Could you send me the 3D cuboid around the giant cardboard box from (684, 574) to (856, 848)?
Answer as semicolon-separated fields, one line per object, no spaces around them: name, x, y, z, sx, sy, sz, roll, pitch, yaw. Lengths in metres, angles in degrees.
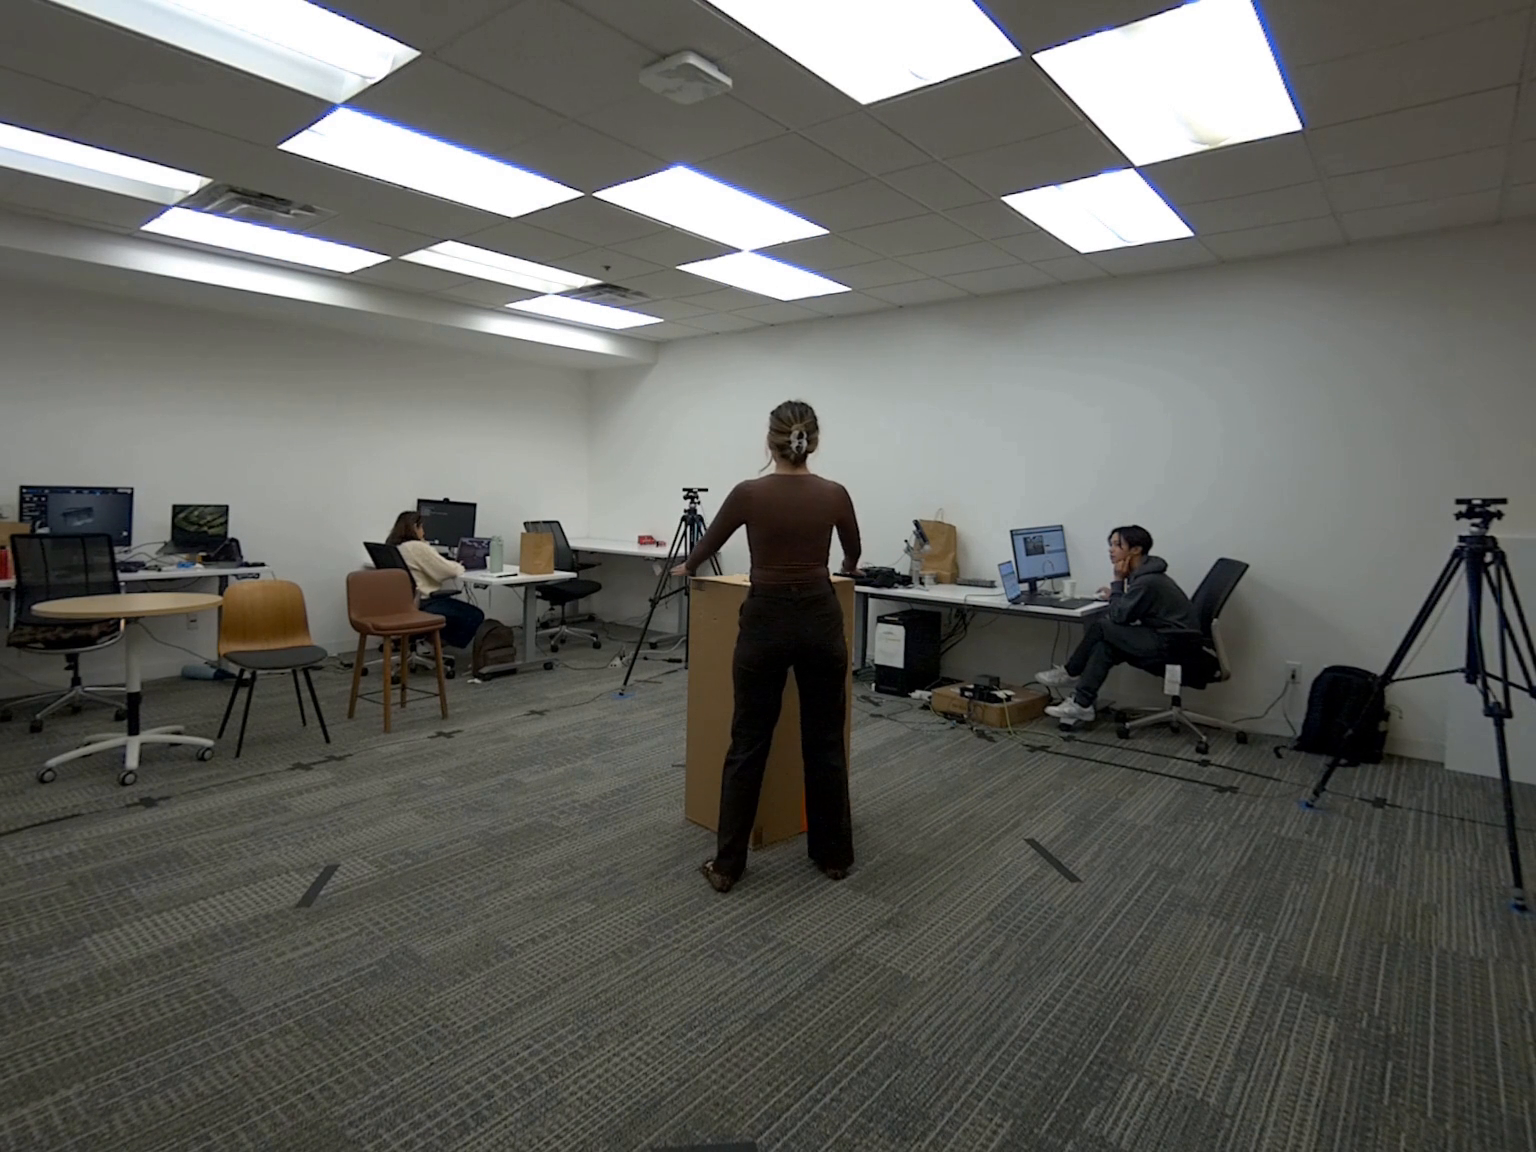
giant cardboard box;0.001;0.514;3.601;0.566;1.023;0.462;-2;5;-43
